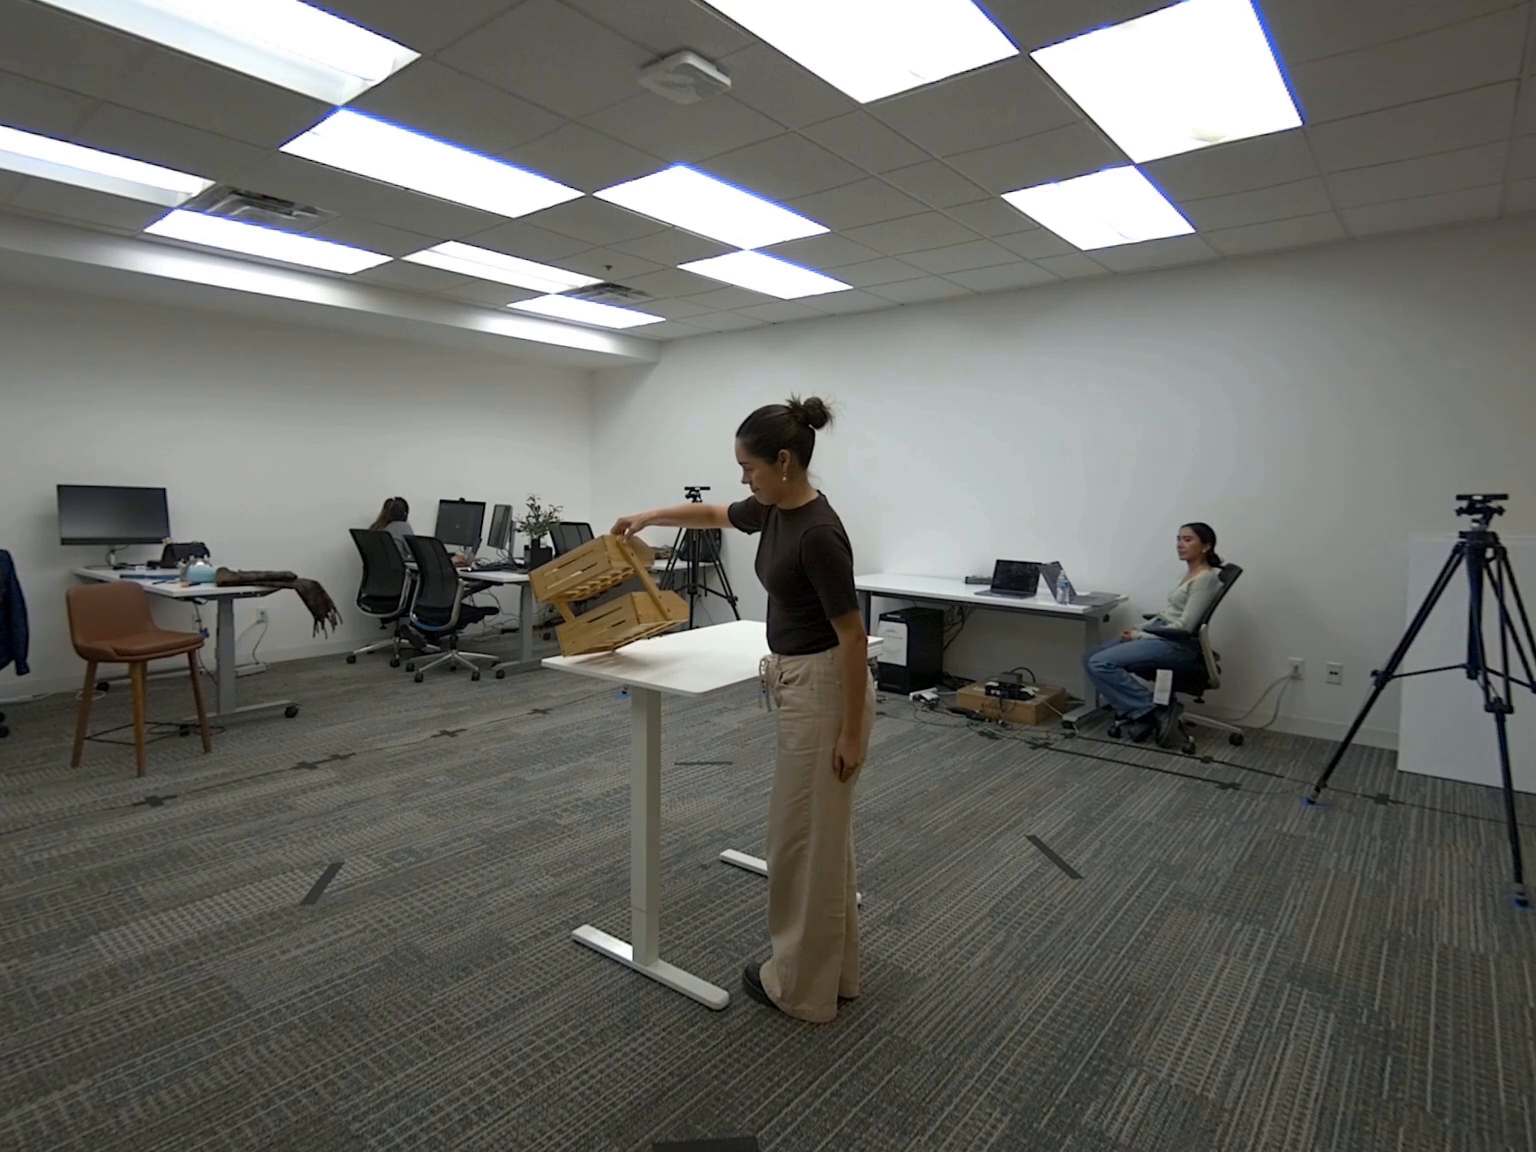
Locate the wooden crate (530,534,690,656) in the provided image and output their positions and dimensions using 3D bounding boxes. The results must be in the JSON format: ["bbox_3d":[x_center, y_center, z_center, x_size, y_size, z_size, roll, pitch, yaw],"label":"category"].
[{"bbox_3d":[-0.467,0.056,2.473,0.329,0.277,0.293,-24,-11,28],"label":"wooden crate"}]
